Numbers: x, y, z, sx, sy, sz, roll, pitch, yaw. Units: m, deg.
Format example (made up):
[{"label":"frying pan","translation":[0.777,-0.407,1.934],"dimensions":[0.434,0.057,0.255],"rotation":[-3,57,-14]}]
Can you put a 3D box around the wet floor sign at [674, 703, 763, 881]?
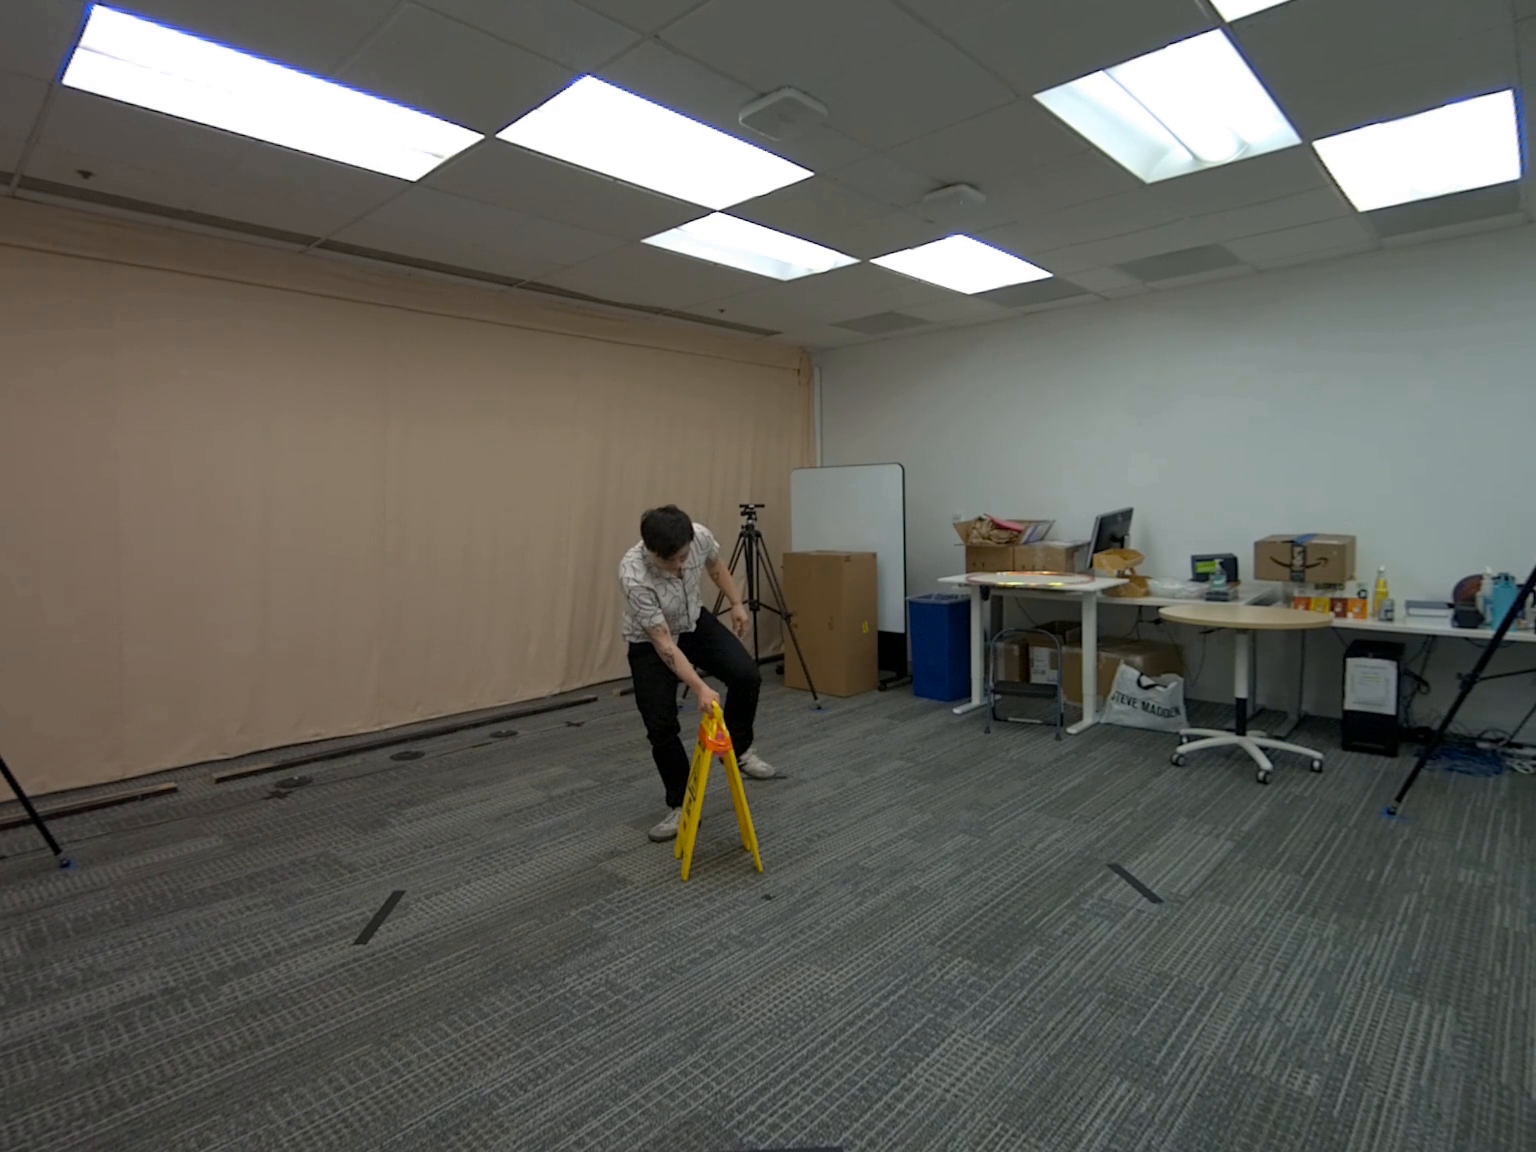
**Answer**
[{"label":"wet floor sign","translation":[-0.204,0.792,3.265],"dimensions":[0.286,0.645,0.286],"rotation":[-2,2,-12]}]
